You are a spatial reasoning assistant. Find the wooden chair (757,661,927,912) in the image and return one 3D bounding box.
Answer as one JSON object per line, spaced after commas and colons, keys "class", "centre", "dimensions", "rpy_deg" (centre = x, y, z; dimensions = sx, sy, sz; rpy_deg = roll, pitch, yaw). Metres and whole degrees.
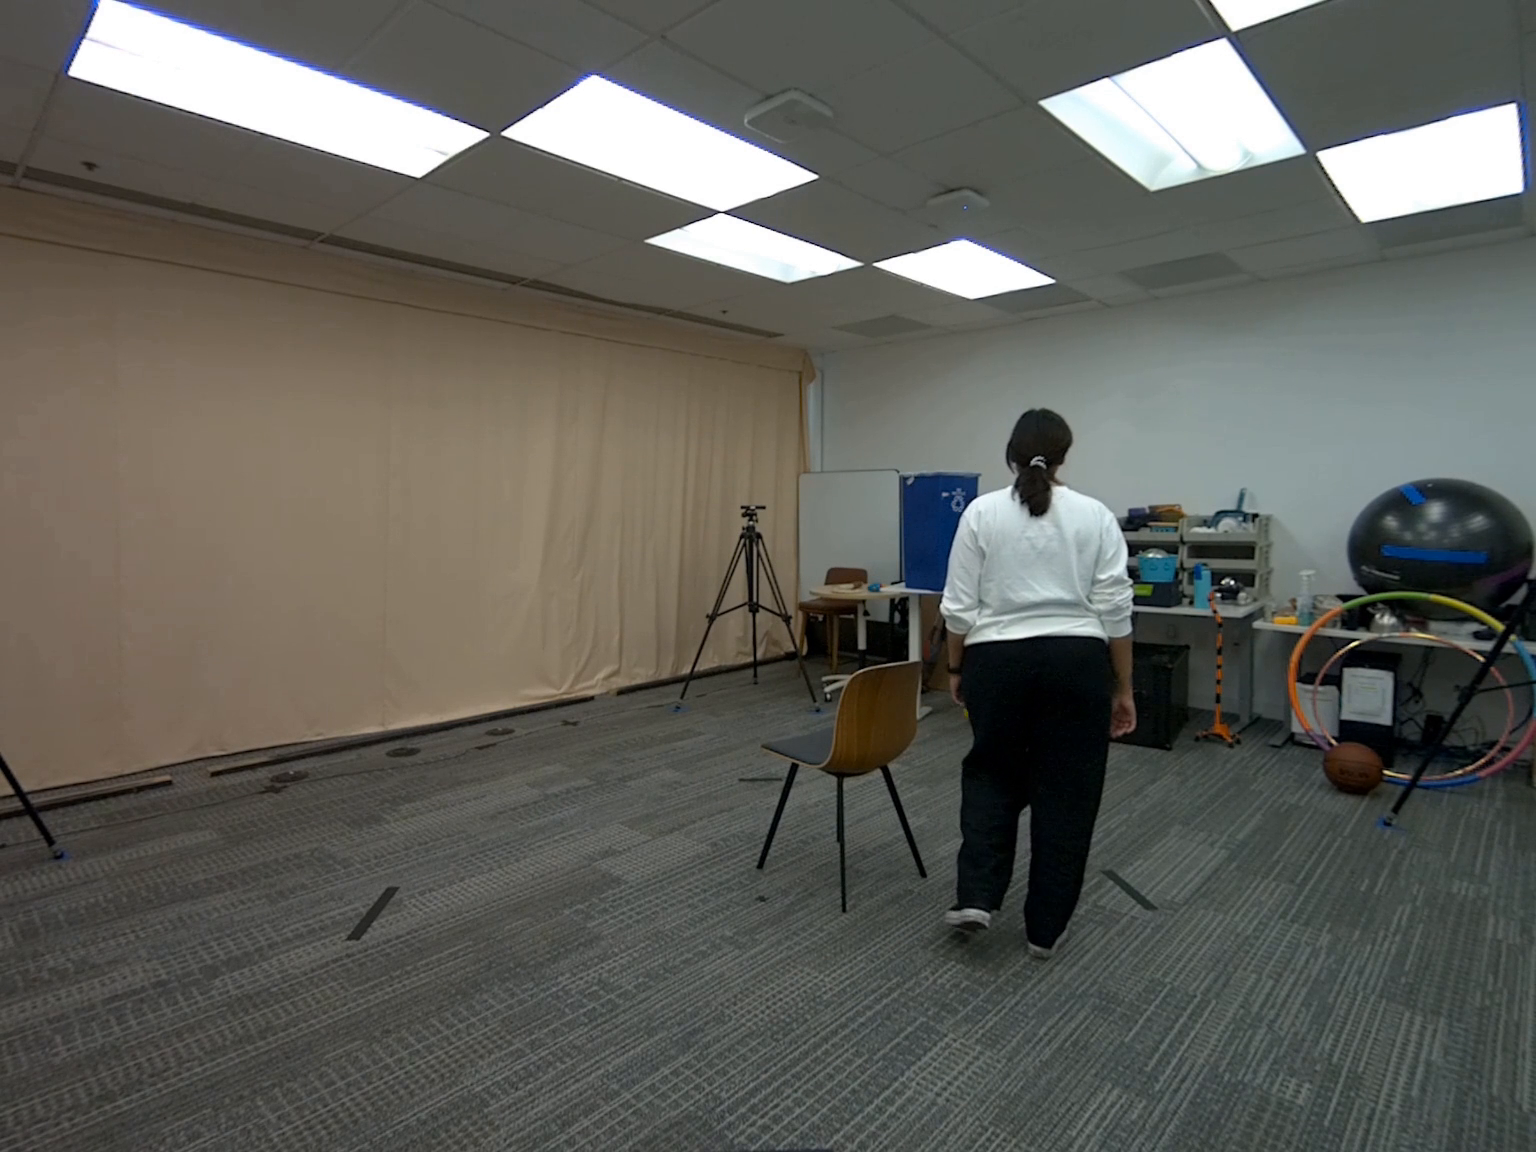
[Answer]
{"class": "wooden chair", "centre": [0.274, 0.699, 3.166], "dimensions": [0.463, 0.874, 0.541], "rpy_deg": [-3, 9, -40]}
